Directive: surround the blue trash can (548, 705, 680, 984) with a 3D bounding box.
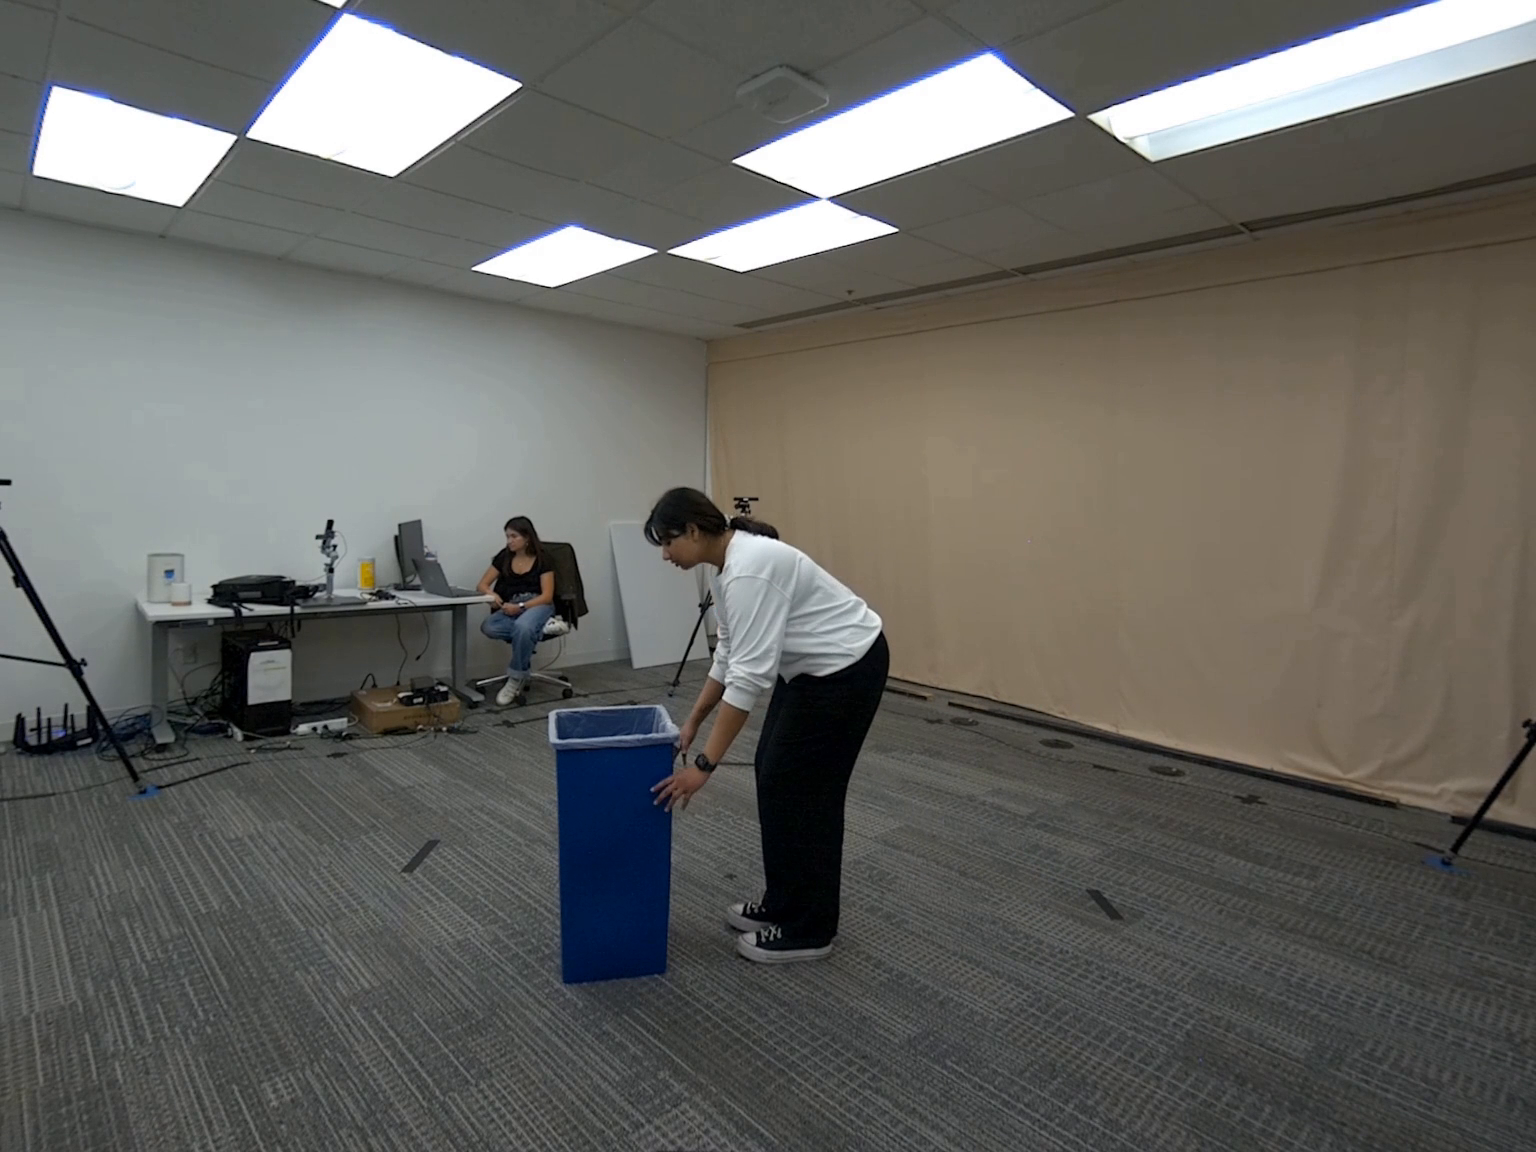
[{"bbox_3d":[-0.478,0.791,2.554,0.370,0.712,0.383,0,3,-14],"label":"blue trash can"}]
